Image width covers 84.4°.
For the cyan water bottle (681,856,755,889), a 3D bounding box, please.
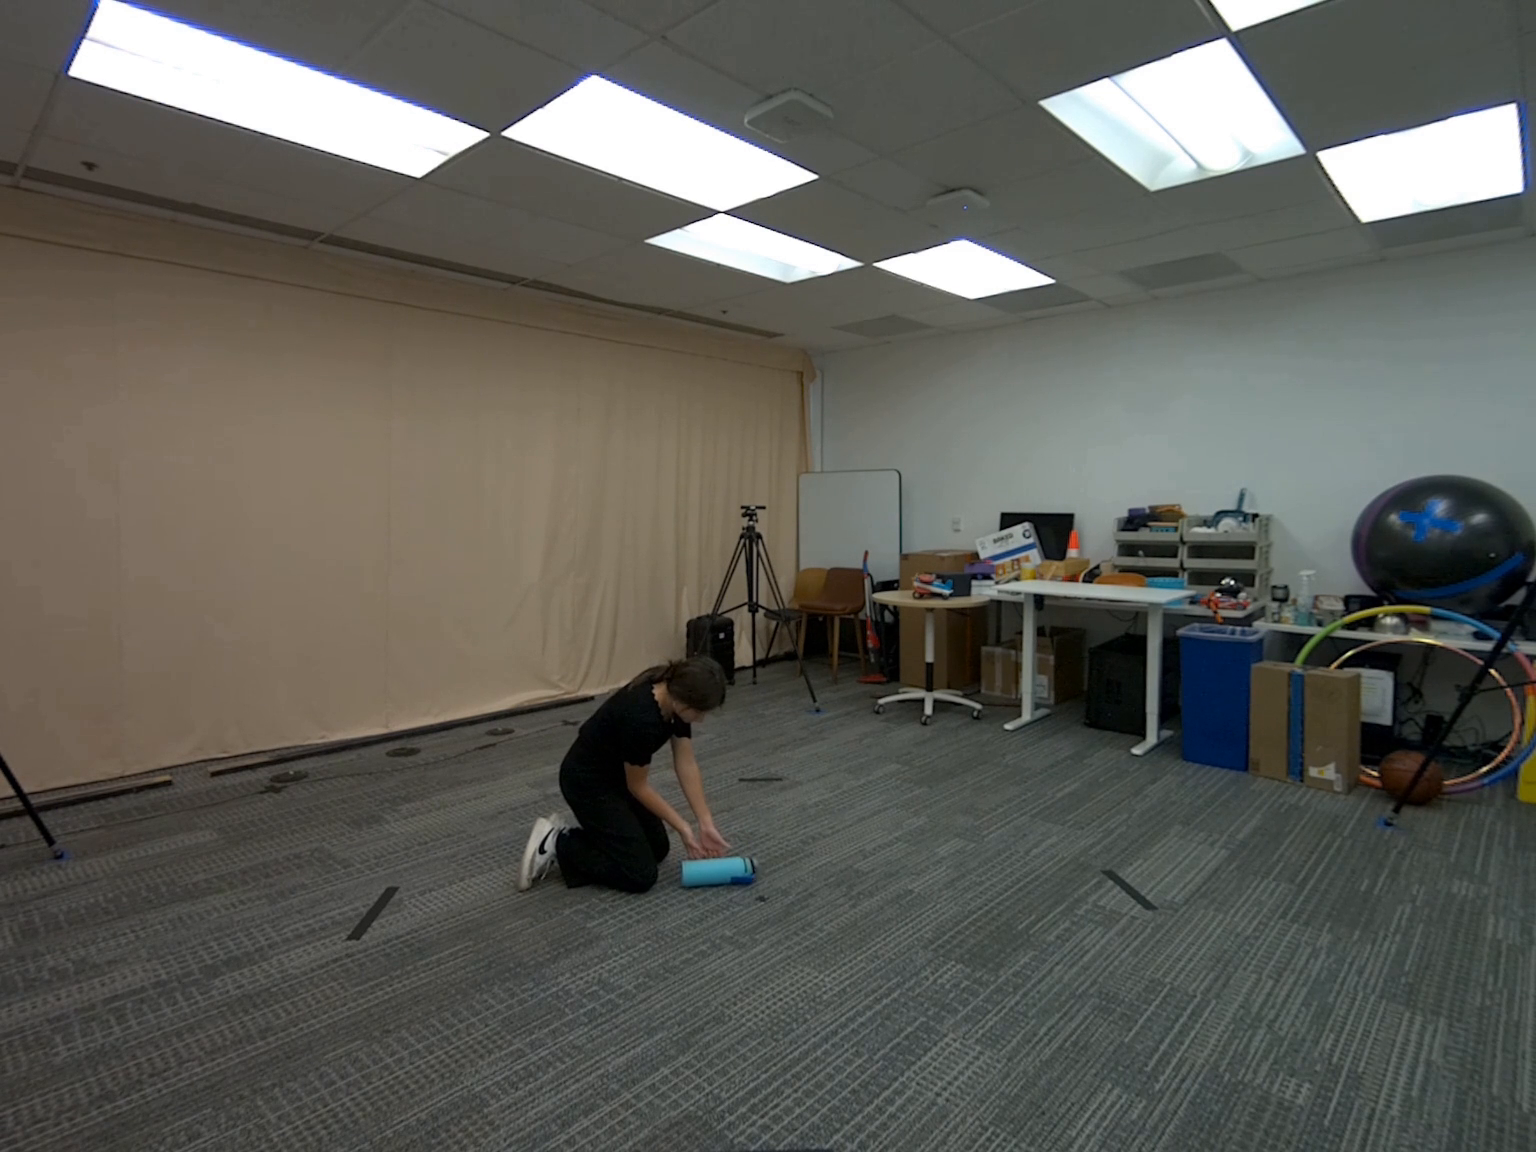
[{"bbox_3d":[-0.175,1.093,3.098,0.281,0.092,0.093,-2,4,-7],"label":"cyan water bottle"}]
